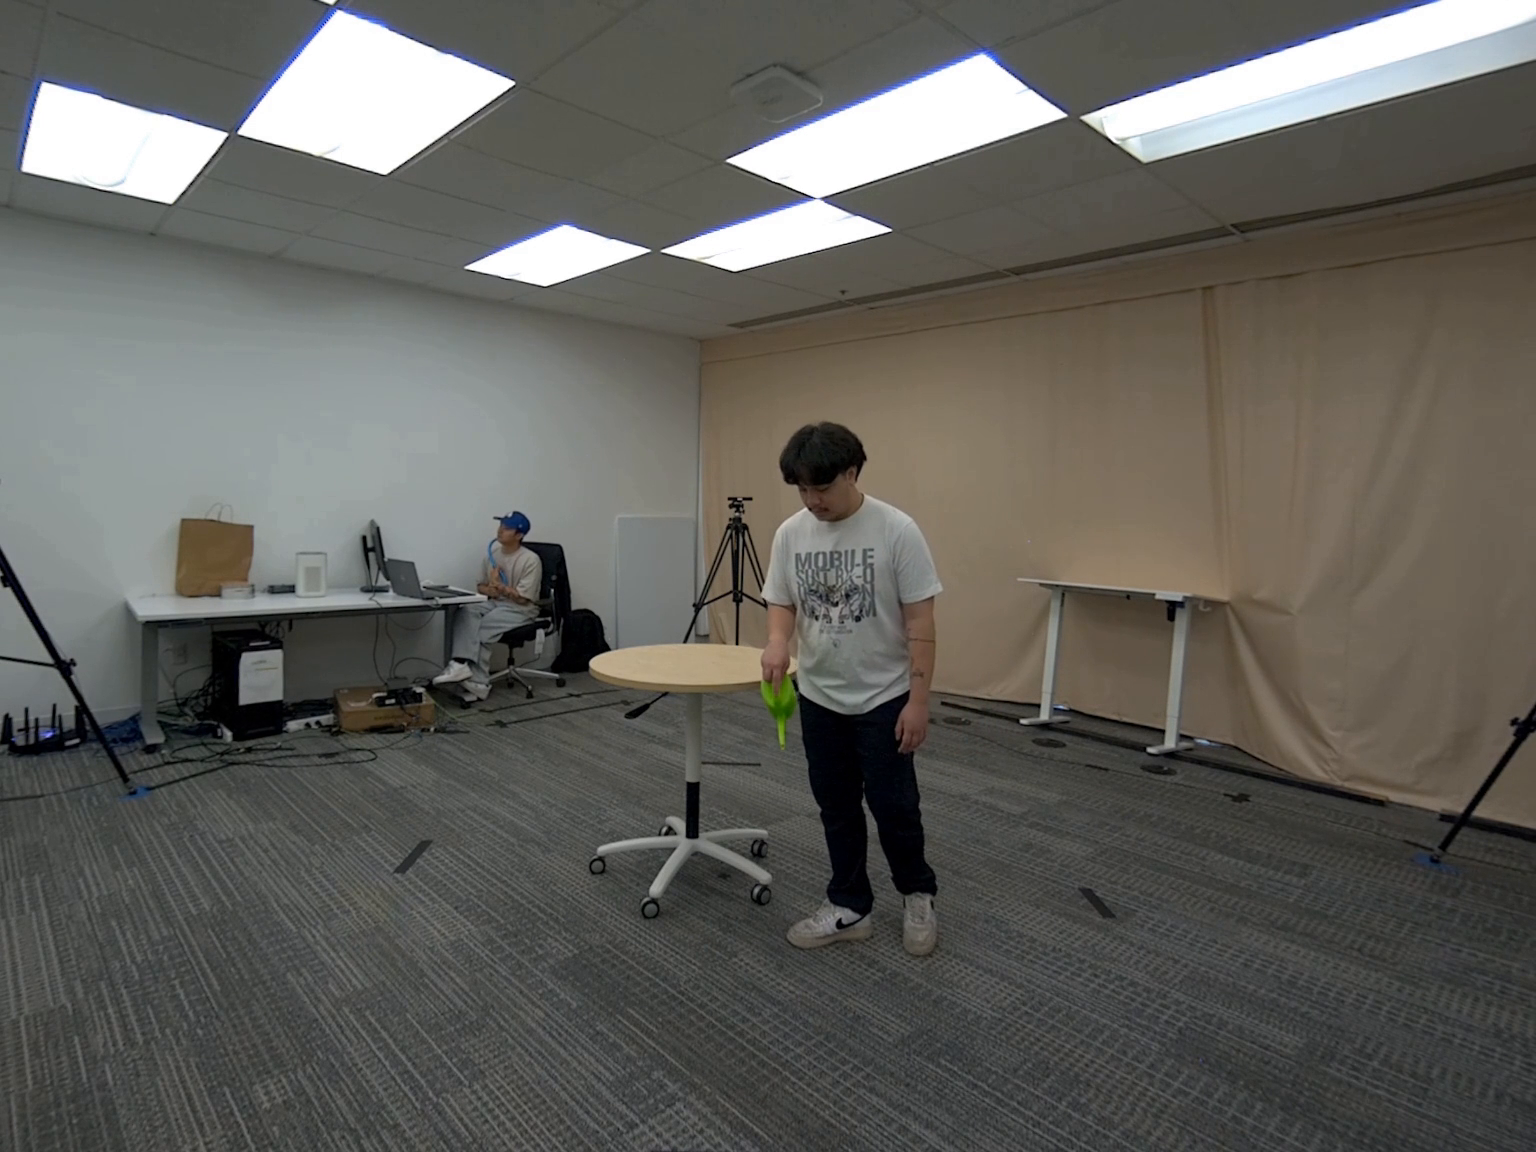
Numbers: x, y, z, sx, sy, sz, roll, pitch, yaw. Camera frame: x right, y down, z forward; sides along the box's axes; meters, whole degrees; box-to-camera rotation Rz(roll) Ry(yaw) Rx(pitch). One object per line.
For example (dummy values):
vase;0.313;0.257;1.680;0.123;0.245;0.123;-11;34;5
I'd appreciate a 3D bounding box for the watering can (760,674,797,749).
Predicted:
watering can;0.020;0.386;2.478;0.099;0.282;0.172;5;-26;13
